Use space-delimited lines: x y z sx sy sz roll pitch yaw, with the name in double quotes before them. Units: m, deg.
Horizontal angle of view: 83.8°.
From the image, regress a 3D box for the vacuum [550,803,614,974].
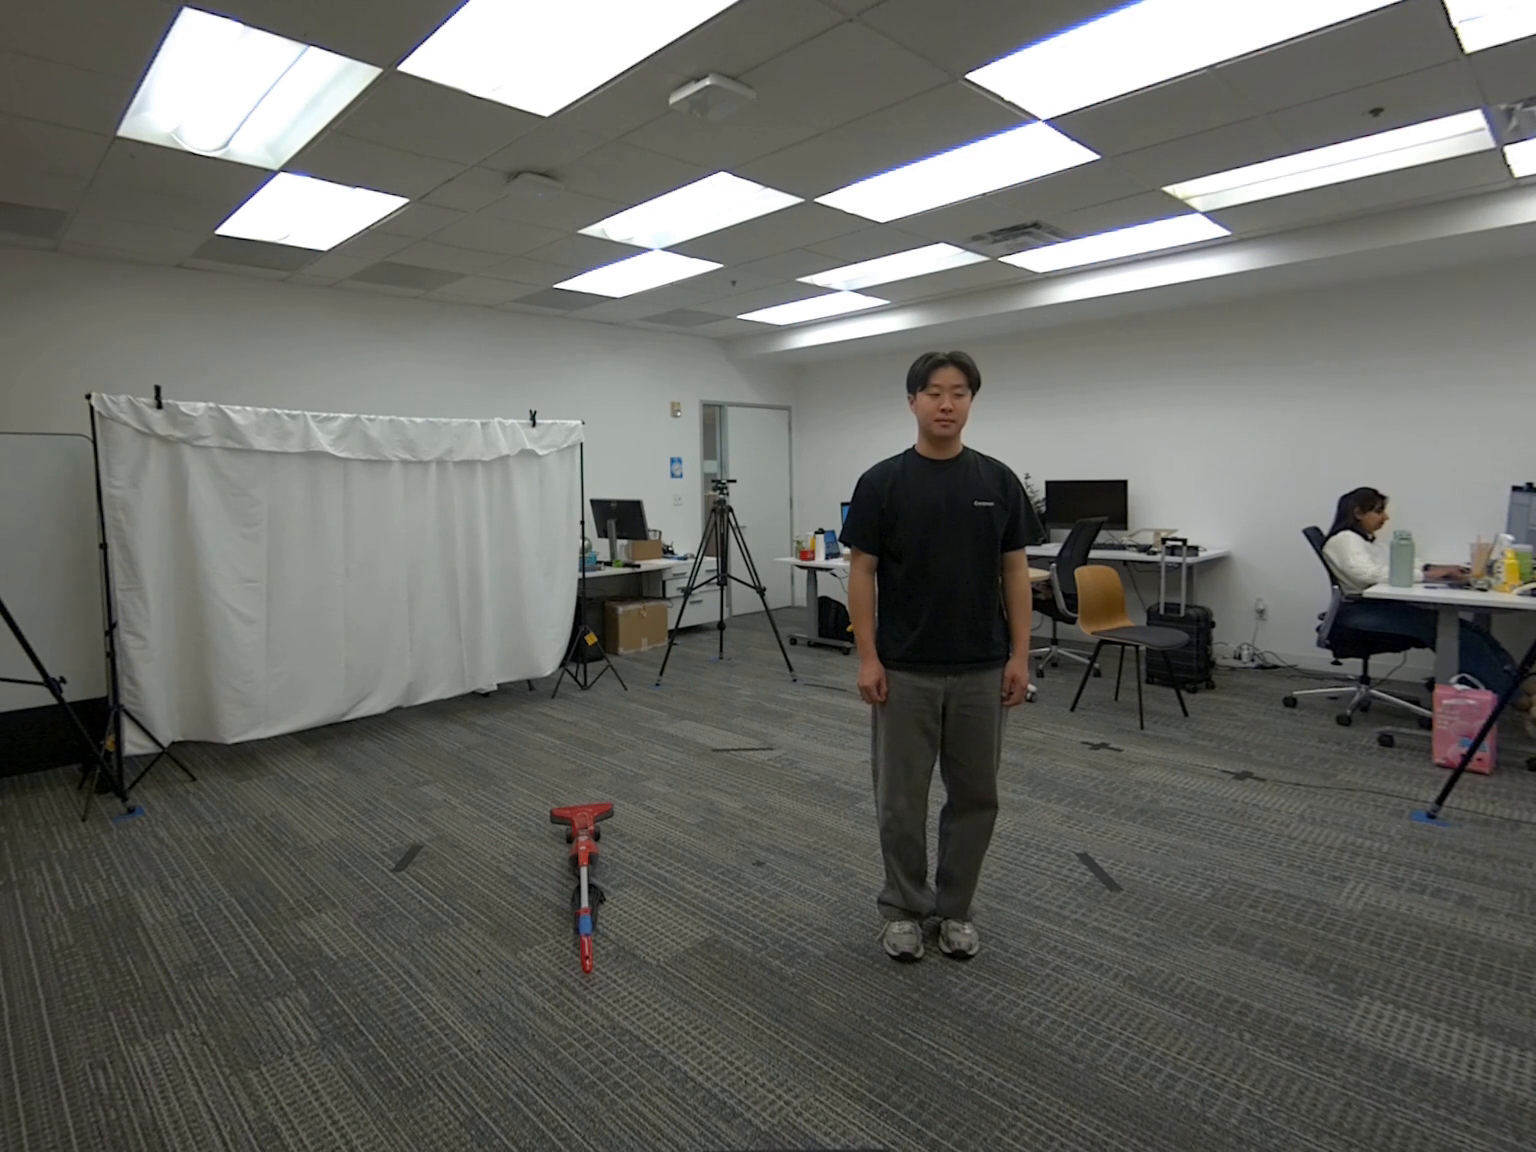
"vacuum" -0.613 1.028 2.858 0.250 0.143 1.065 -5 8 -11
